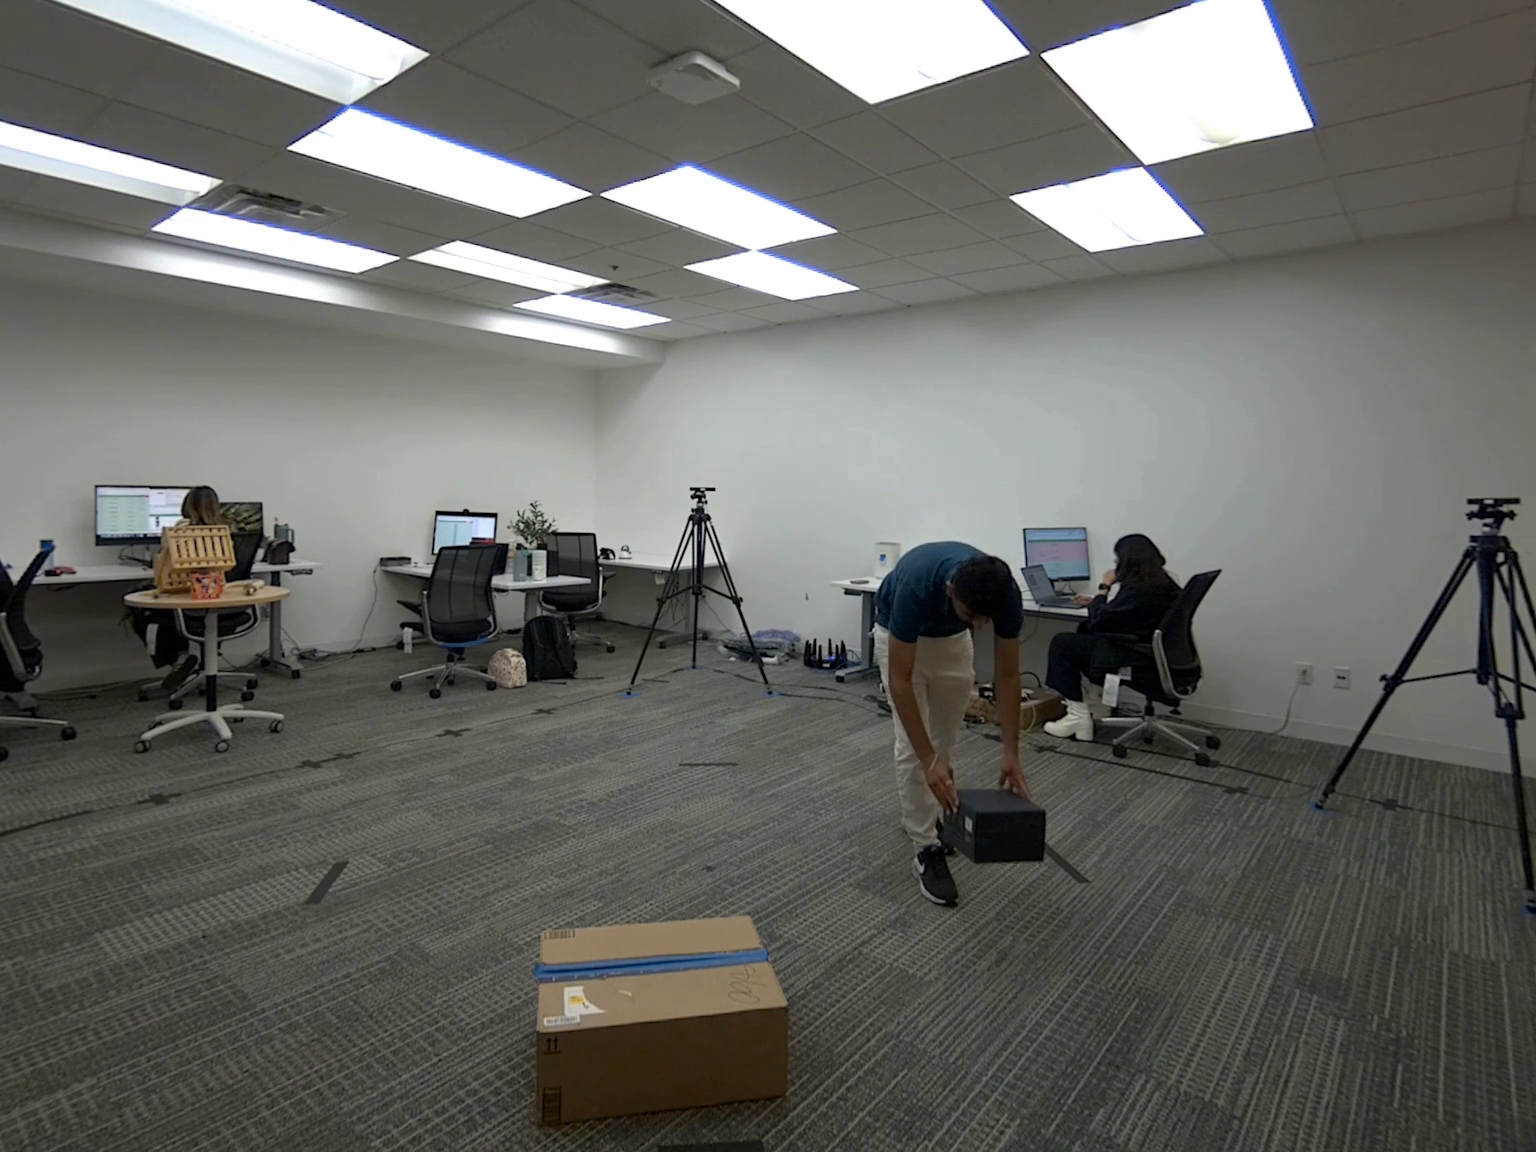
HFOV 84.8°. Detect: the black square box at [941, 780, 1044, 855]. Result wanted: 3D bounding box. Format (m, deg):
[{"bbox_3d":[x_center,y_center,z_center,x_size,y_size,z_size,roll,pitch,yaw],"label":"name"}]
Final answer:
[{"bbox_3d":[0.694,0.749,2.631,0.226,0.156,0.219,2,2,-9],"label":"black square box"}]
